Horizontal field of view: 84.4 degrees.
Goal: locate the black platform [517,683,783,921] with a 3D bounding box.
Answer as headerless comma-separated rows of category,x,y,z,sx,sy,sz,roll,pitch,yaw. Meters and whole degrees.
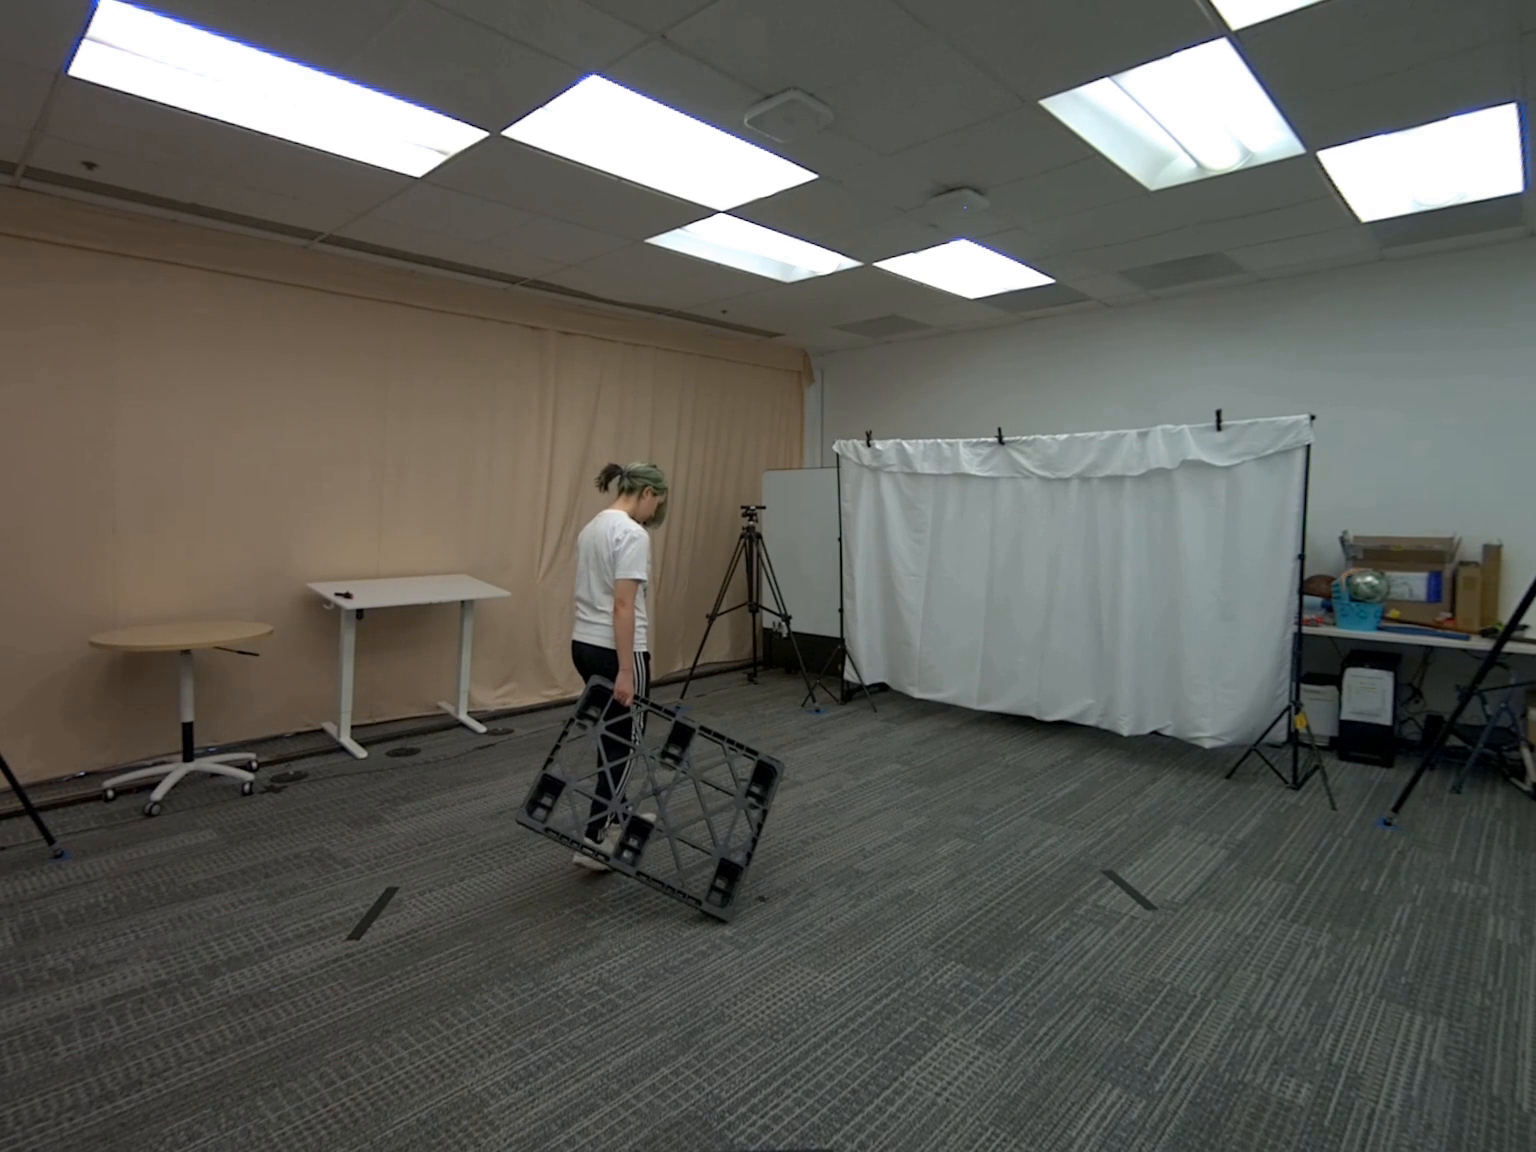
black platform,-0.405,0.797,3.021,0.808,0.607,0.142,24,-34,2
